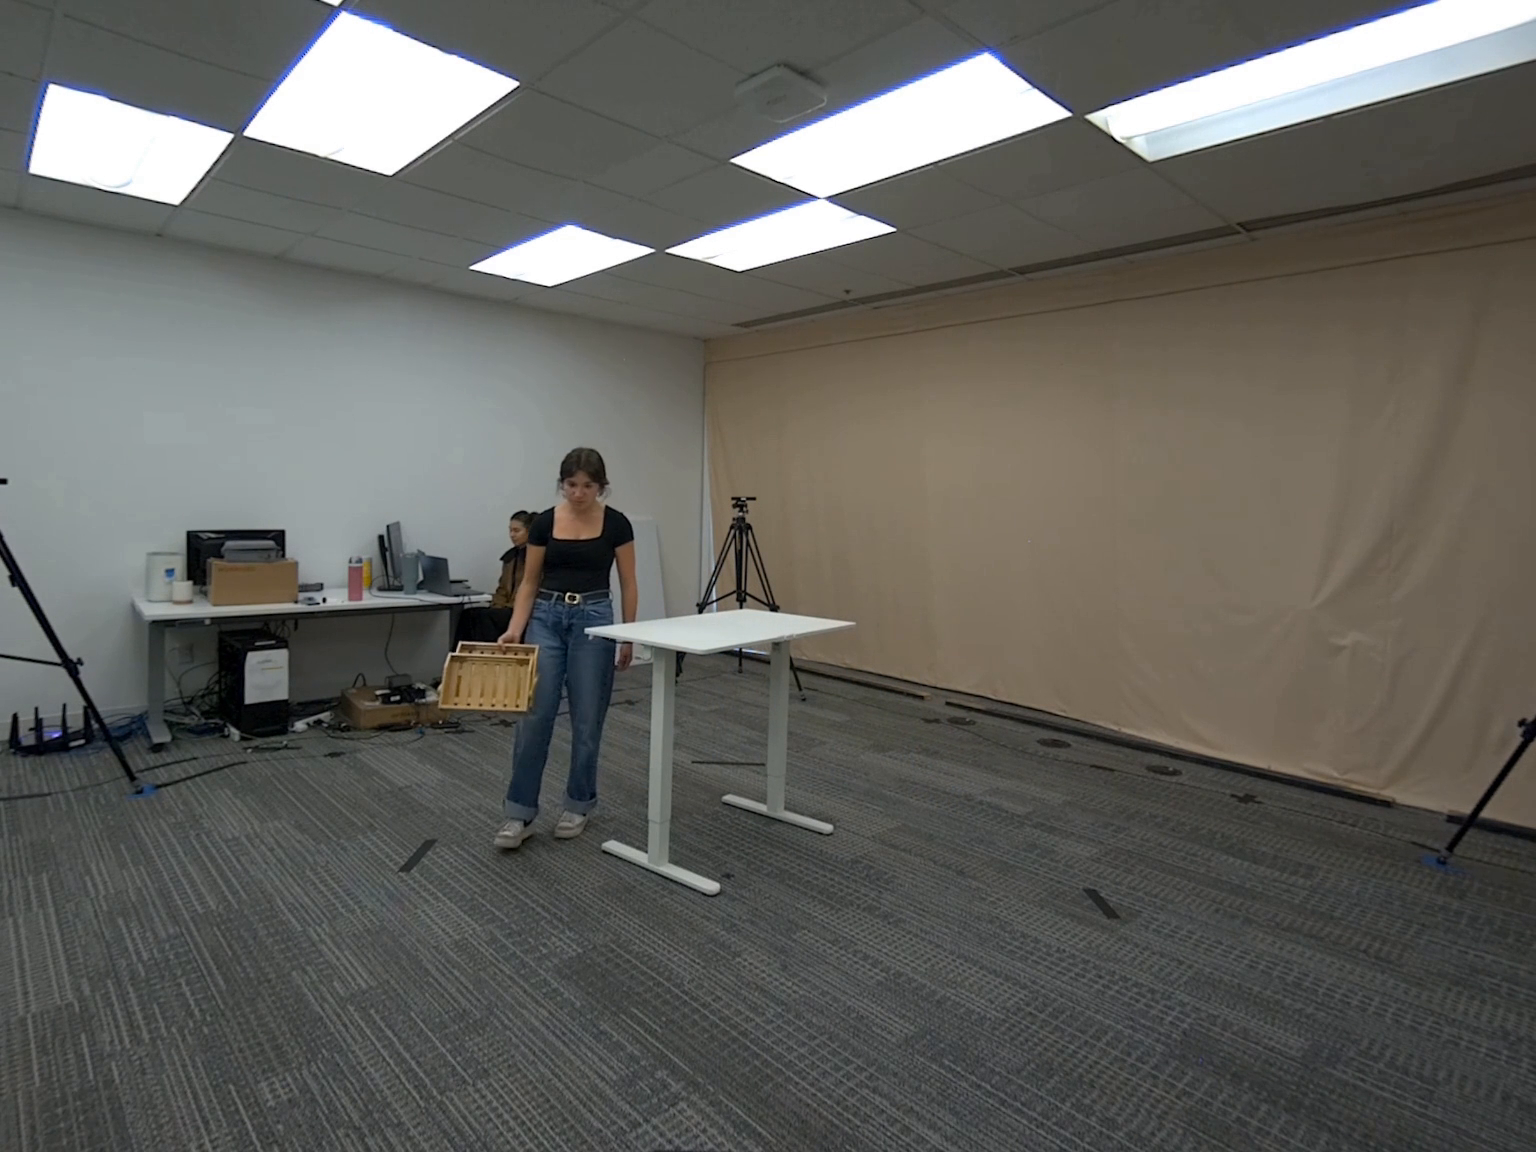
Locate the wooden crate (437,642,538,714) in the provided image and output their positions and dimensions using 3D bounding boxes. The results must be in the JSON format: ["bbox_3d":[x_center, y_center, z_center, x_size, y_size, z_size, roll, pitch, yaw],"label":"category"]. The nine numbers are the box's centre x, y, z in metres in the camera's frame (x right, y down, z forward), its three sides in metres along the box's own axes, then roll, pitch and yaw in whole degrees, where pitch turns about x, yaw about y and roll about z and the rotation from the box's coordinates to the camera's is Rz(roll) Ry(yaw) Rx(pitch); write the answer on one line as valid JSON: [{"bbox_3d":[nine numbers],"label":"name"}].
[{"bbox_3d":[-1.037,0.371,3.106,0.322,0.306,0.271,4,-22,-8],"label":"wooden crate"}]
